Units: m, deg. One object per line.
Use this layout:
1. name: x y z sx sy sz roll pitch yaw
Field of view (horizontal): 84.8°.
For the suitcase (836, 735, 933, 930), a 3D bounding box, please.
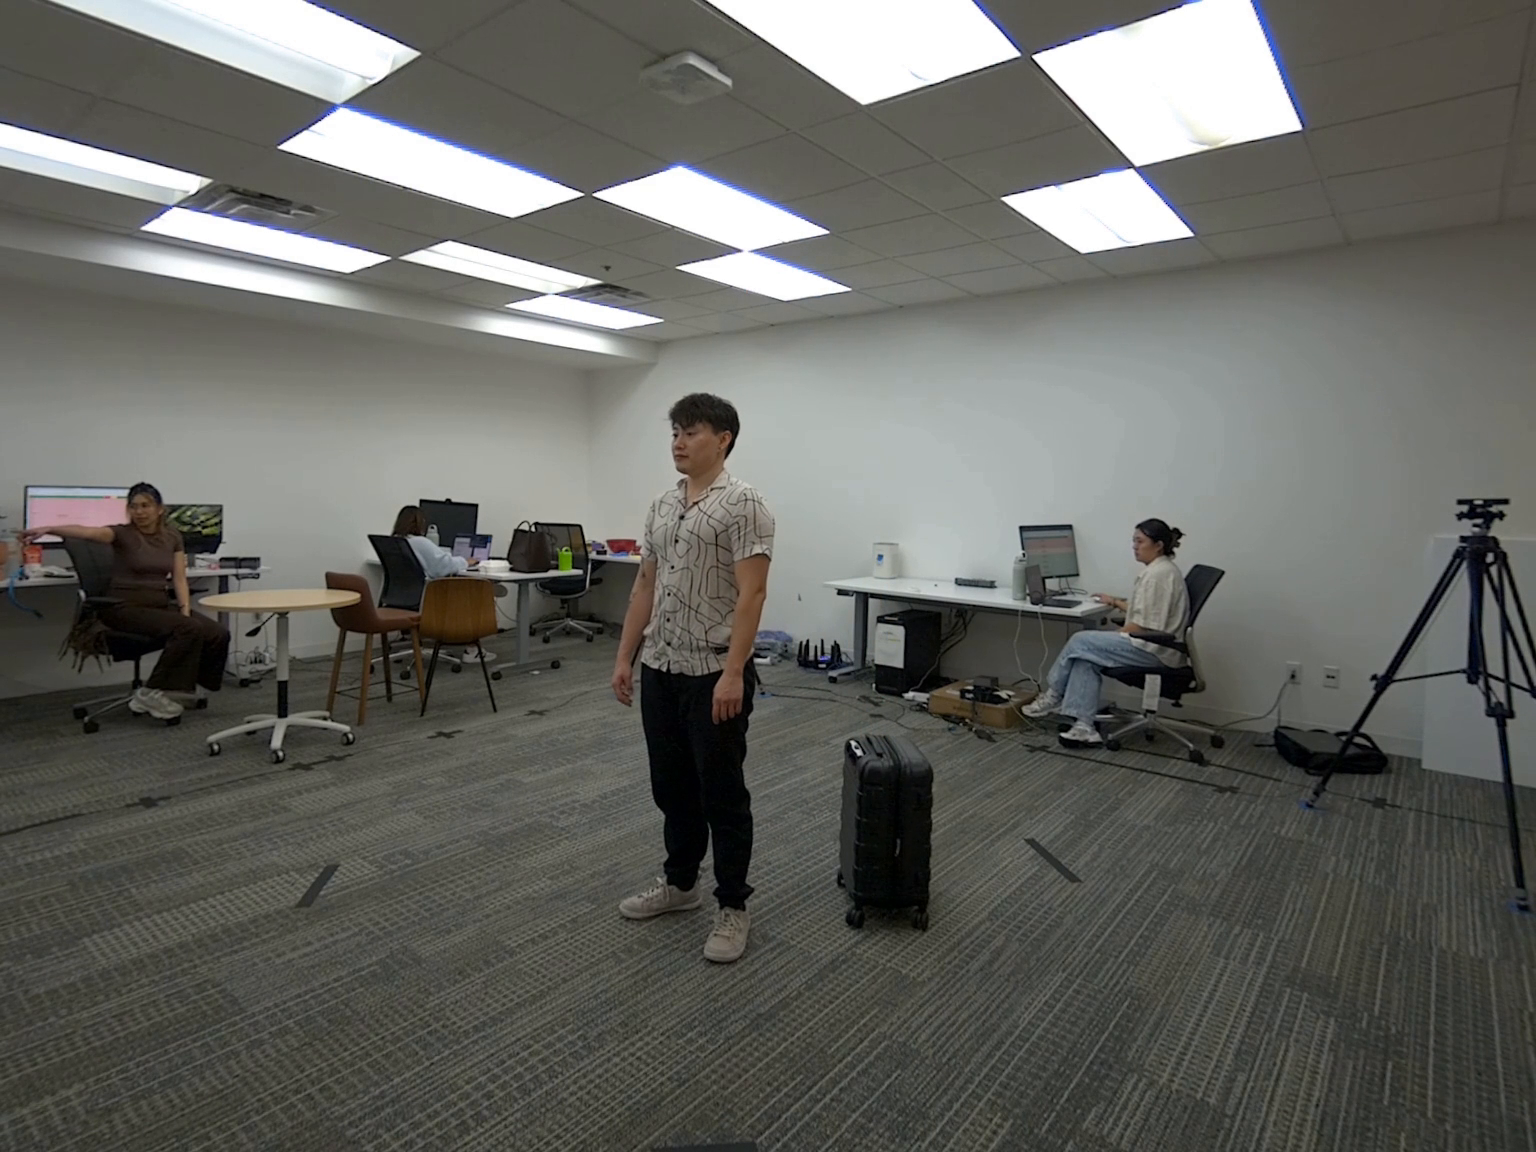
1. suitcase: 0.386 0.832 2.879 0.248 0.548 0.376 2 2 -1
